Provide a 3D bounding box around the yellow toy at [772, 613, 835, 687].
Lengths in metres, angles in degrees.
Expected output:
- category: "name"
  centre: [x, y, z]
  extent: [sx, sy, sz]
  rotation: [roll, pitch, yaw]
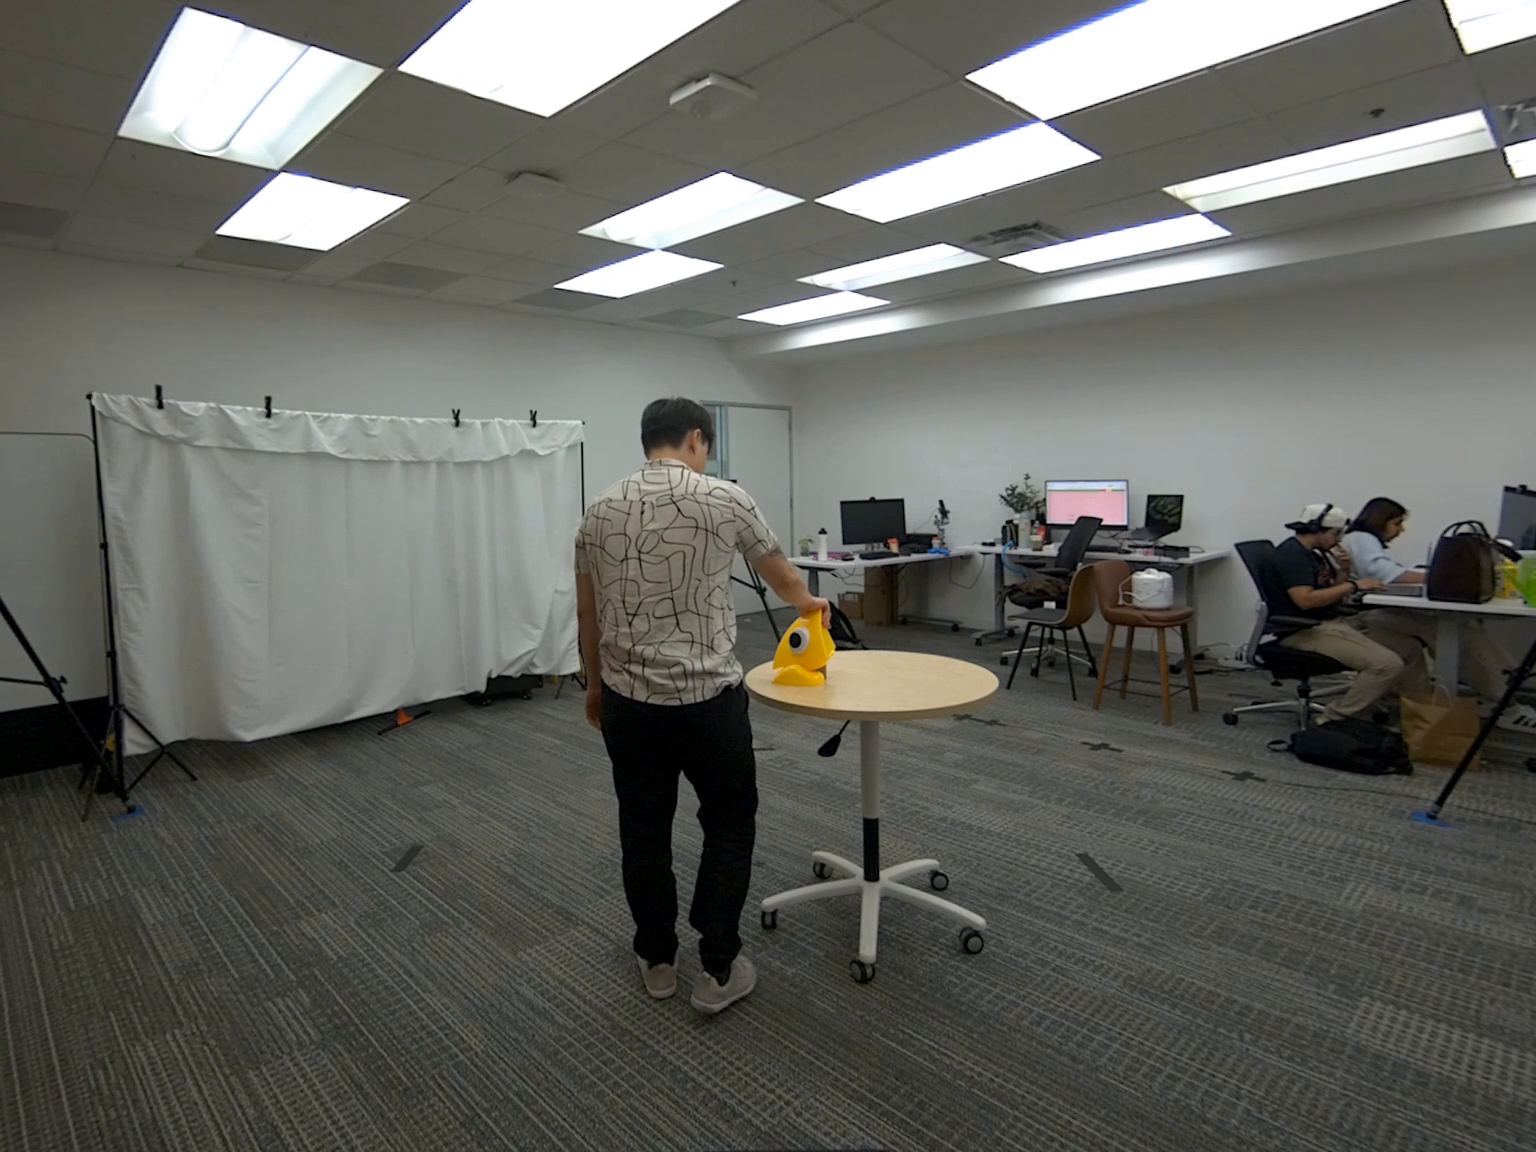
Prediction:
- category: "yellow toy"
  centre: [0.111, 0.204, 2.636]
  extent: [0.195, 0.230, 0.203]
  rotation: [-2, 5, 11]
